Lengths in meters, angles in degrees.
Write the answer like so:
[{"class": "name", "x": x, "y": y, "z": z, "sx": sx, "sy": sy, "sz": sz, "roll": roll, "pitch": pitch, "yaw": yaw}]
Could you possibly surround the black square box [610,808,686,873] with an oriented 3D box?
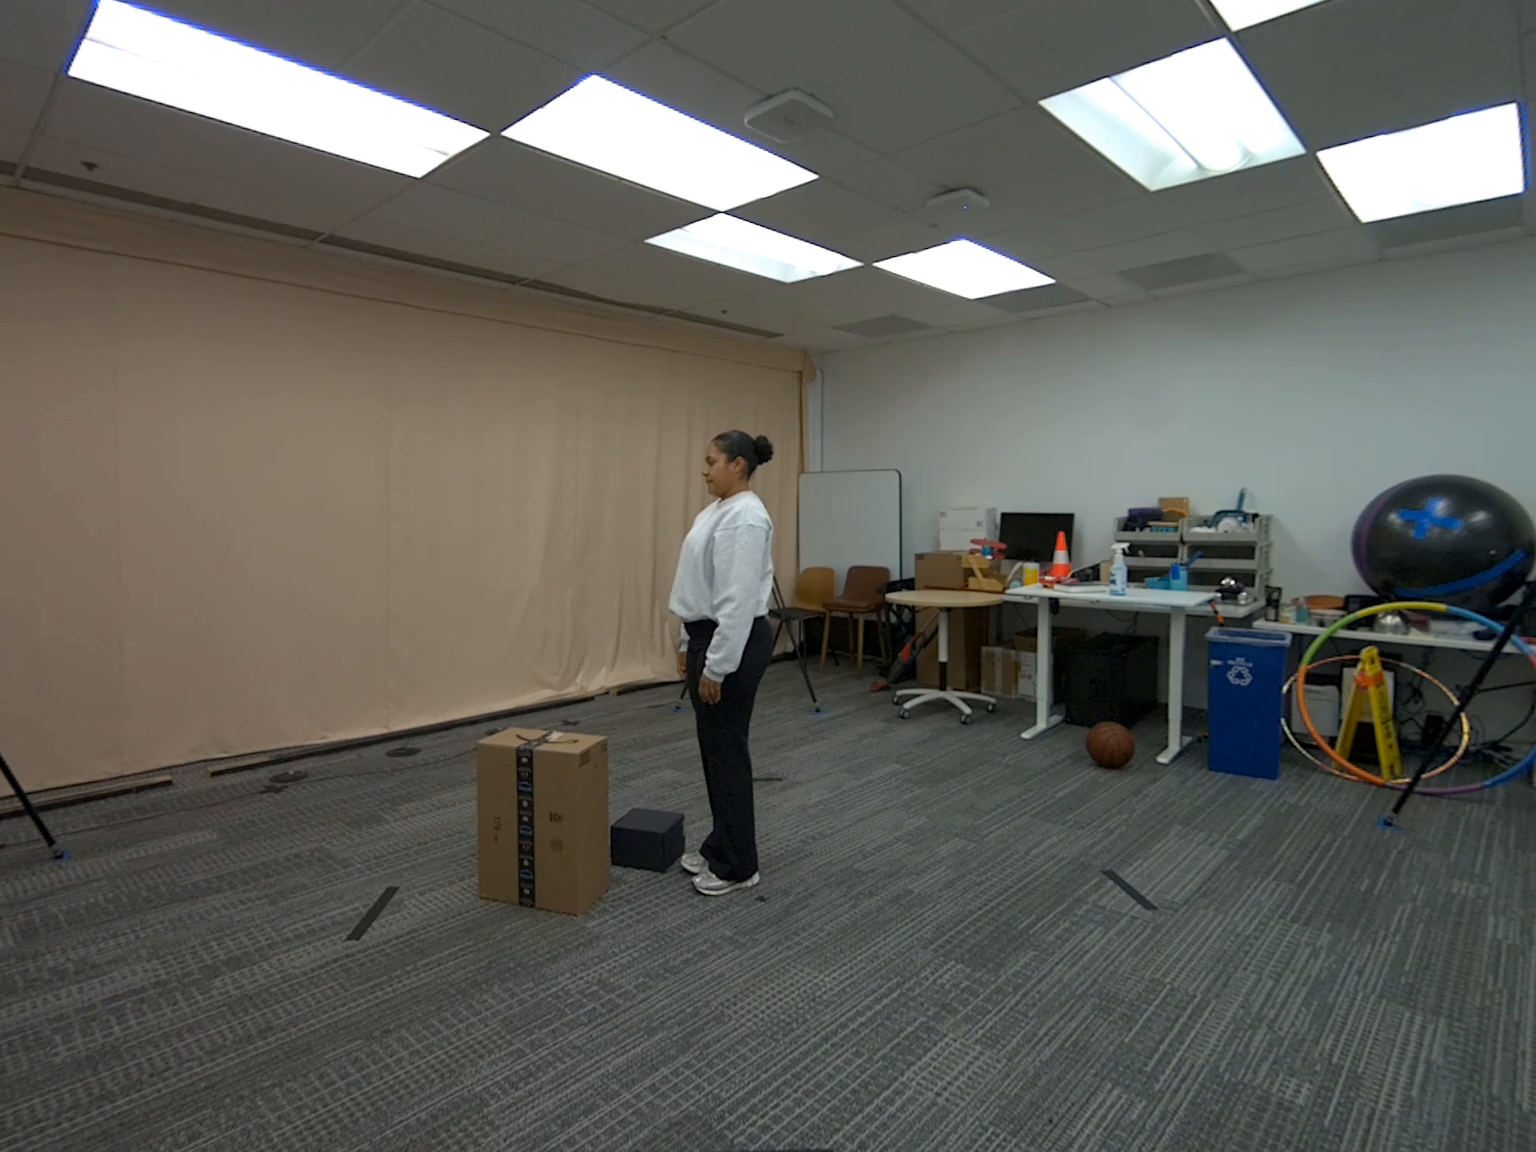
[{"class": "black square box", "x": -0.472, "y": 1.038, "z": 3.328, "sx": 0.232, "sy": 0.155, "sz": 0.213, "roll": 0, "pitch": 4, "yaw": 19}]
